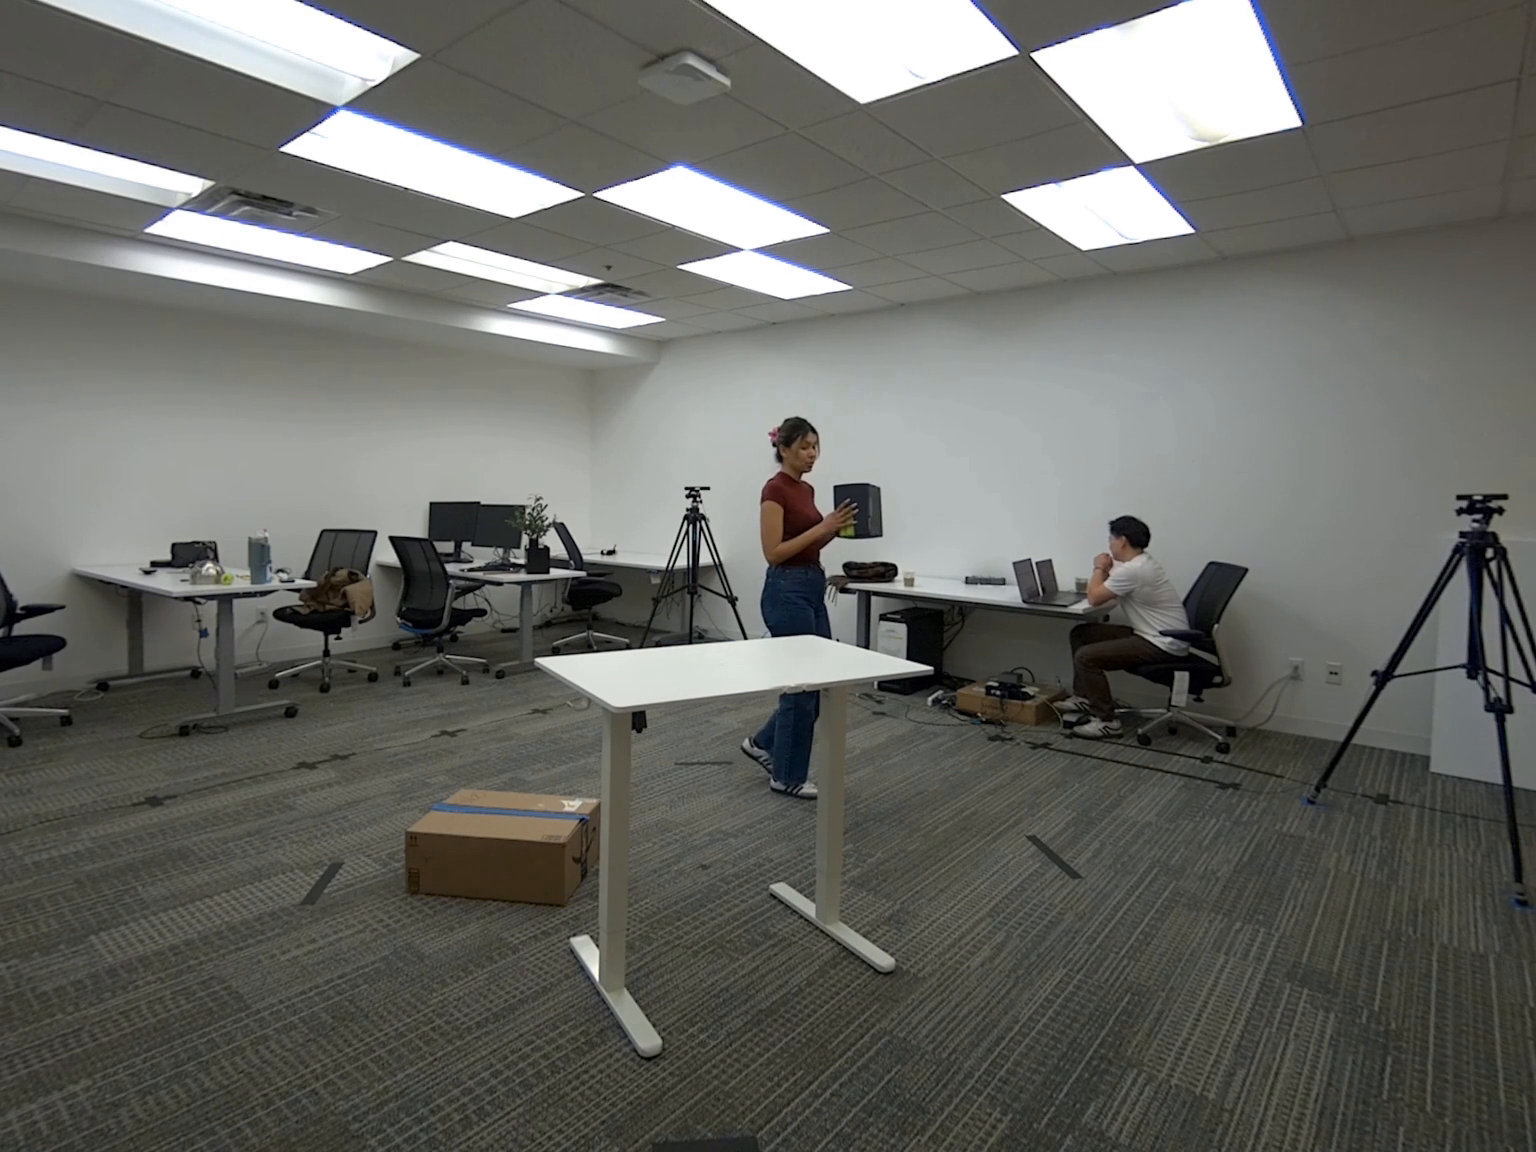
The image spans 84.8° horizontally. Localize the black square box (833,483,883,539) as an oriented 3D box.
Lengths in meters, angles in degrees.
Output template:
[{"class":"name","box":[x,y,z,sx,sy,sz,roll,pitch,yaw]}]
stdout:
[{"class":"black square box","box":[0.385,-0.290,3.757,0.159,0.228,0.212,-2,-1,21]}]
